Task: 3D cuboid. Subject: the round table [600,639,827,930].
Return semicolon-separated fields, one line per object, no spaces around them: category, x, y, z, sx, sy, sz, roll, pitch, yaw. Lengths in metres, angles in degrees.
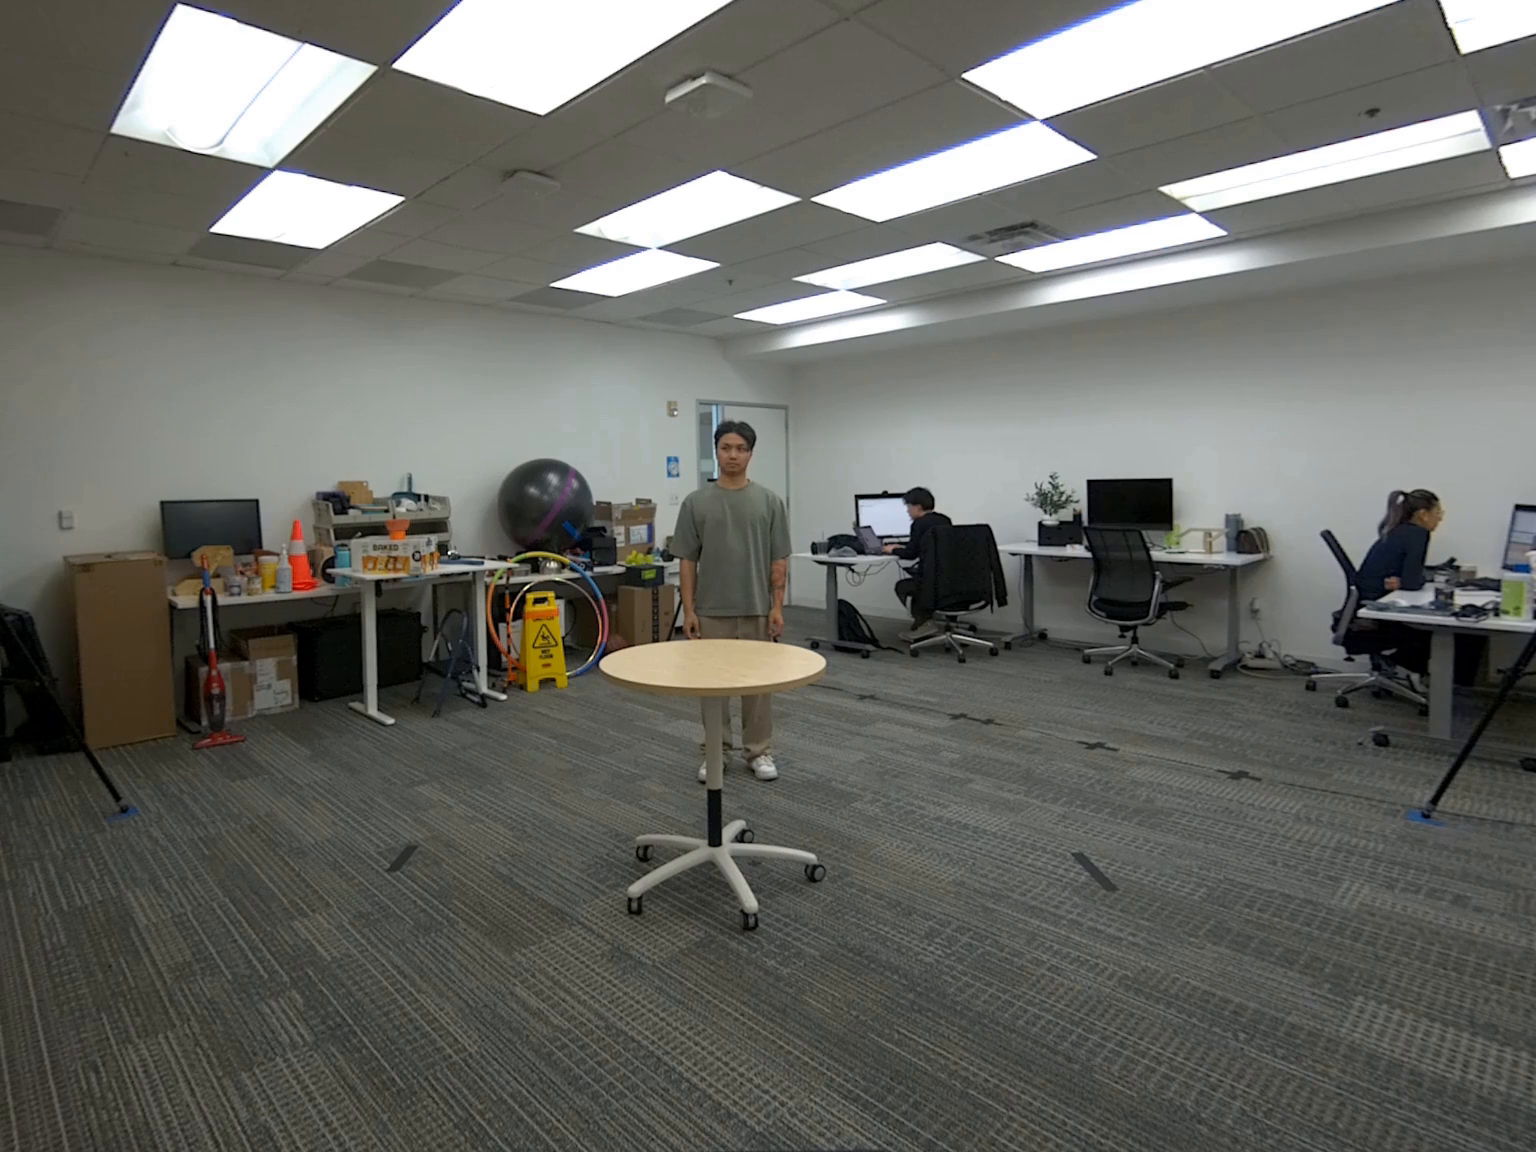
round table;-0.197;0.679;2.924;0.784;0.784;0.789;-1;5;-2
